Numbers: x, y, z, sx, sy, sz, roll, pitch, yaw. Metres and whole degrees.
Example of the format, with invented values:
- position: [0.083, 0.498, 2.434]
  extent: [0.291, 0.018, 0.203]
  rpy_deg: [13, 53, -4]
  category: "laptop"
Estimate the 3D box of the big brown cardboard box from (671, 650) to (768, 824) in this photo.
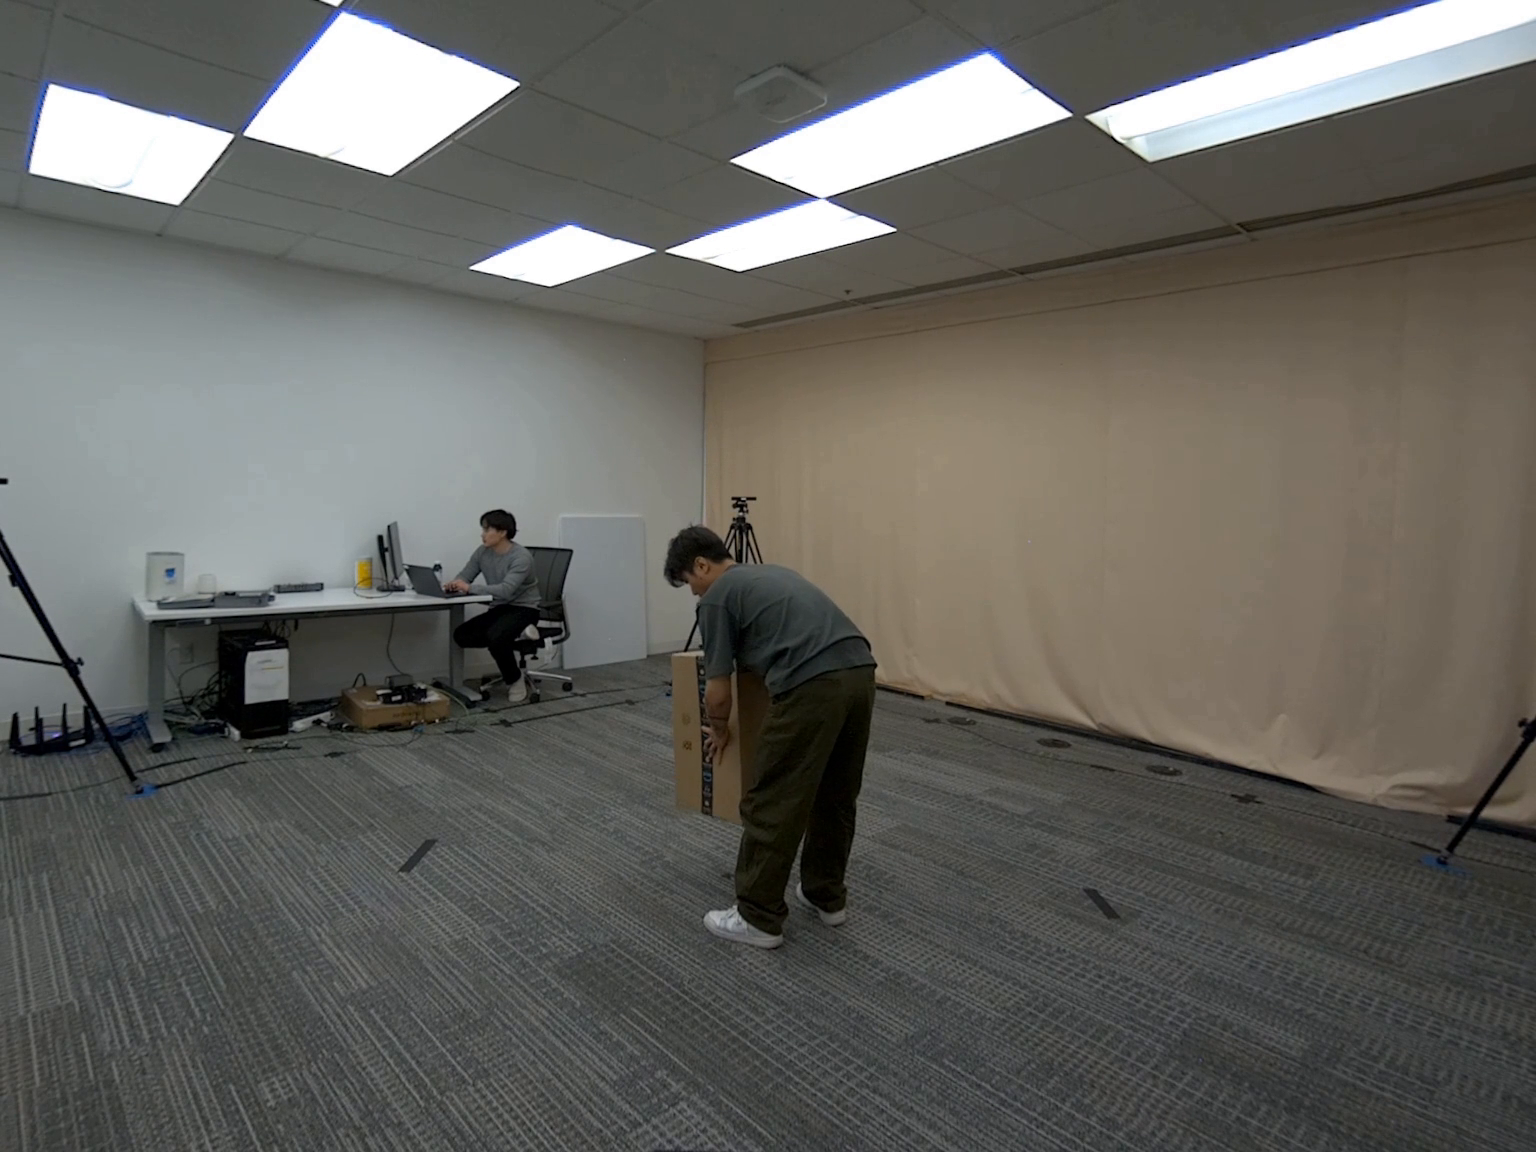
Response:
- position: [-0.152, 0.564, 3.063]
  extent: [0.228, 0.590, 0.426]
  rpy_deg: [1, -3, -38]
  category: "big brown cardboard box"
